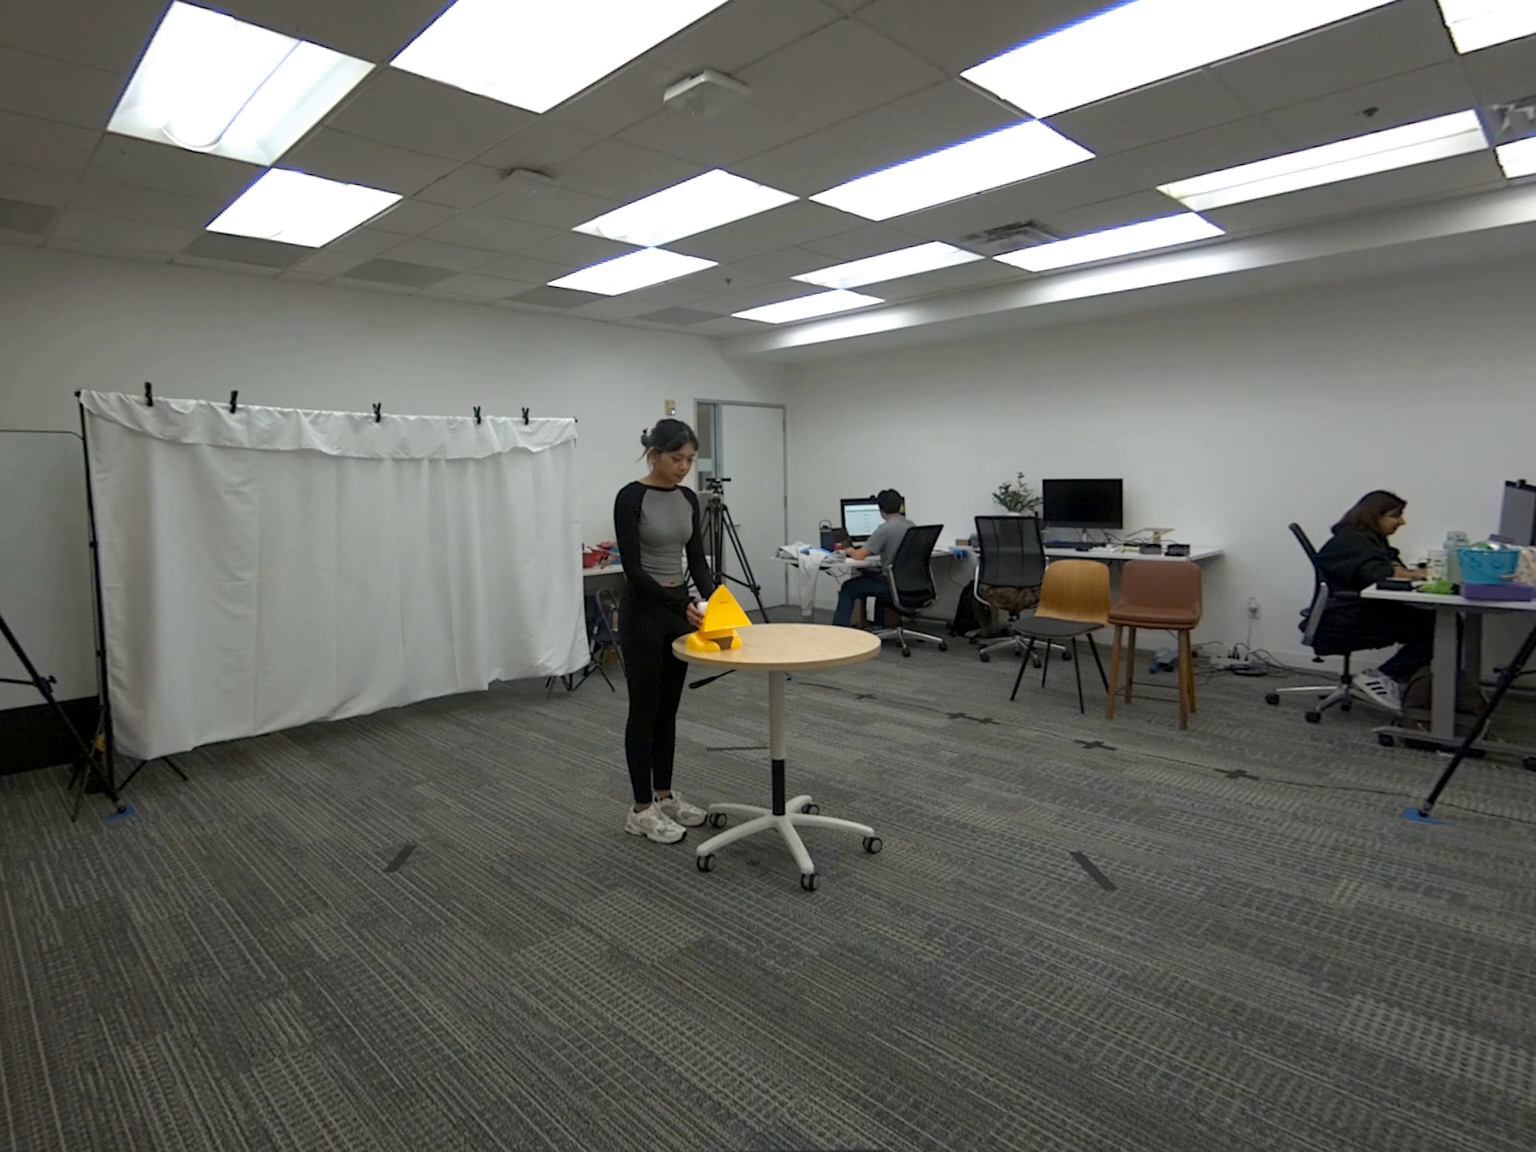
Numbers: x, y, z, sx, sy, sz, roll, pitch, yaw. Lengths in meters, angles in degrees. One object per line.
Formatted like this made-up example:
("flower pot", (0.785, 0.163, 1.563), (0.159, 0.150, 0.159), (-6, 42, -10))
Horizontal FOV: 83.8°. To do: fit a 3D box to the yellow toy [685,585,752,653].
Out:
("yellow toy", (-0.193, 0.143, 3.079), (0.199, 0.230, 0.198), (-5, 4, -37))
